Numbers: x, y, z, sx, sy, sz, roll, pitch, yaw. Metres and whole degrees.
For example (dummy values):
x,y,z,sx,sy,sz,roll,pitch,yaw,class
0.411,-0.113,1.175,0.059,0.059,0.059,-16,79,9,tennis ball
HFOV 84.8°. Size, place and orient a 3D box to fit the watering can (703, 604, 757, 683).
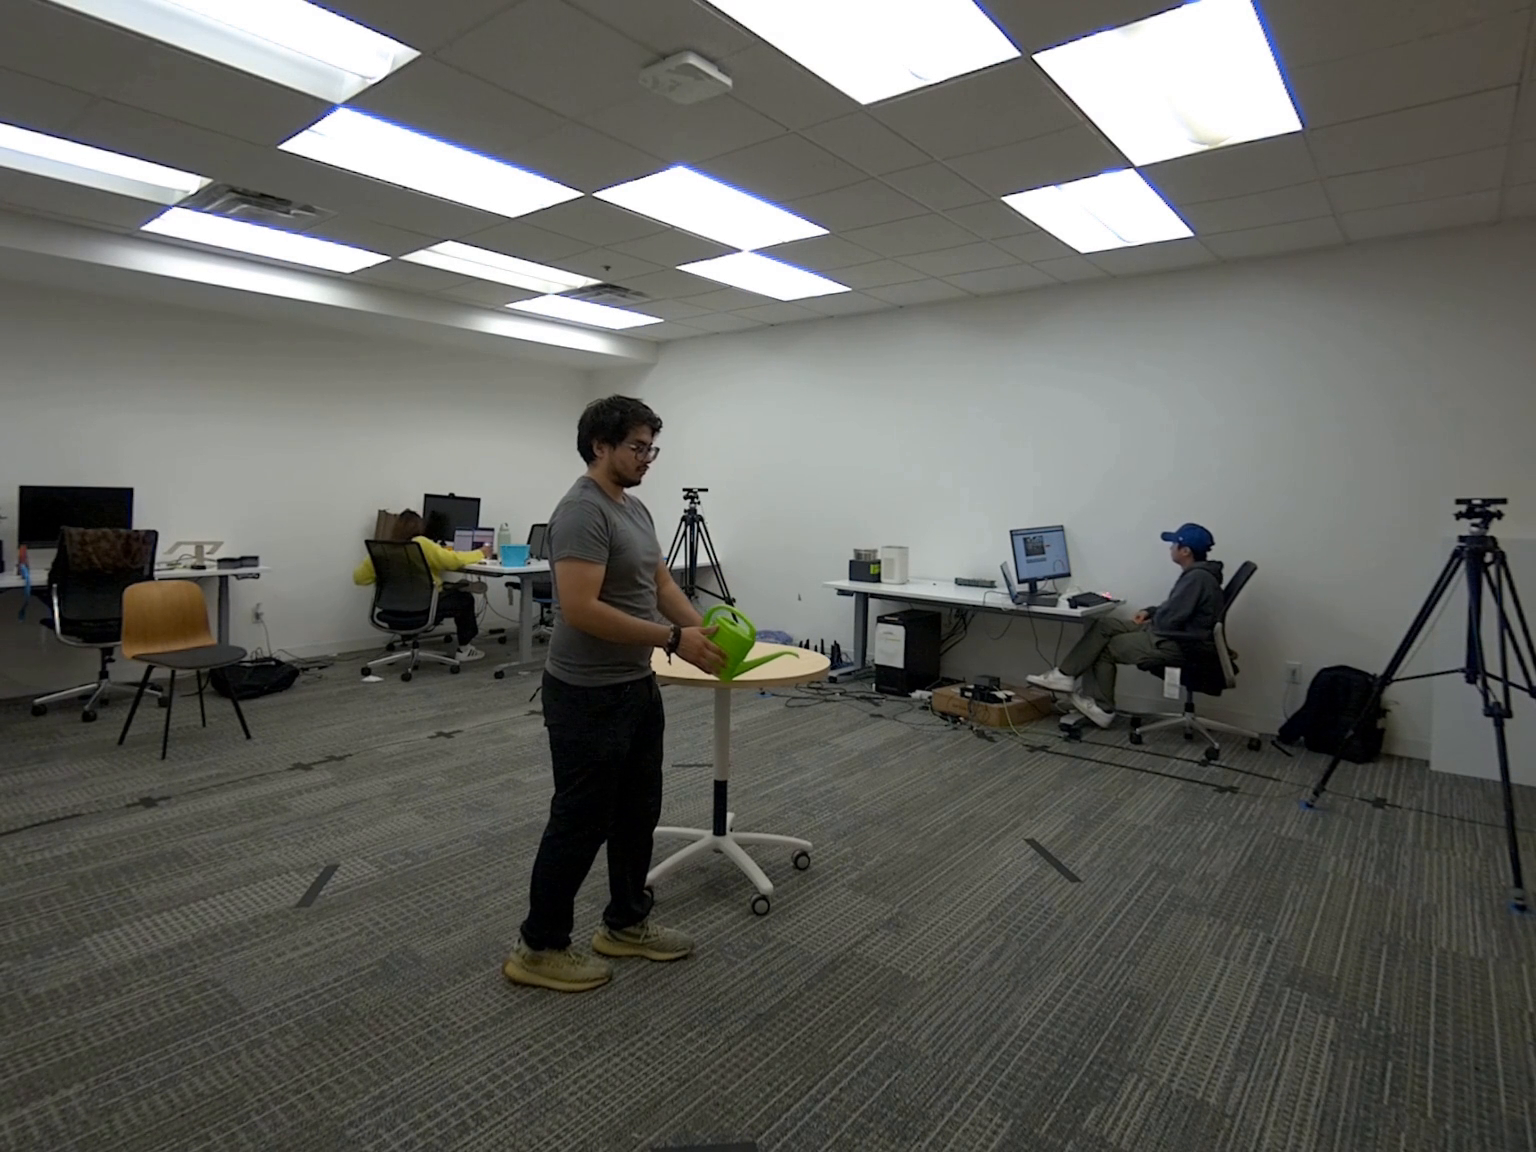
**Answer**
x,y,z,sx,sy,sz,roll,pitch,yaw,class
-0.086,0.206,2.253,0.289,0.176,0.094,36,9,31,watering can
